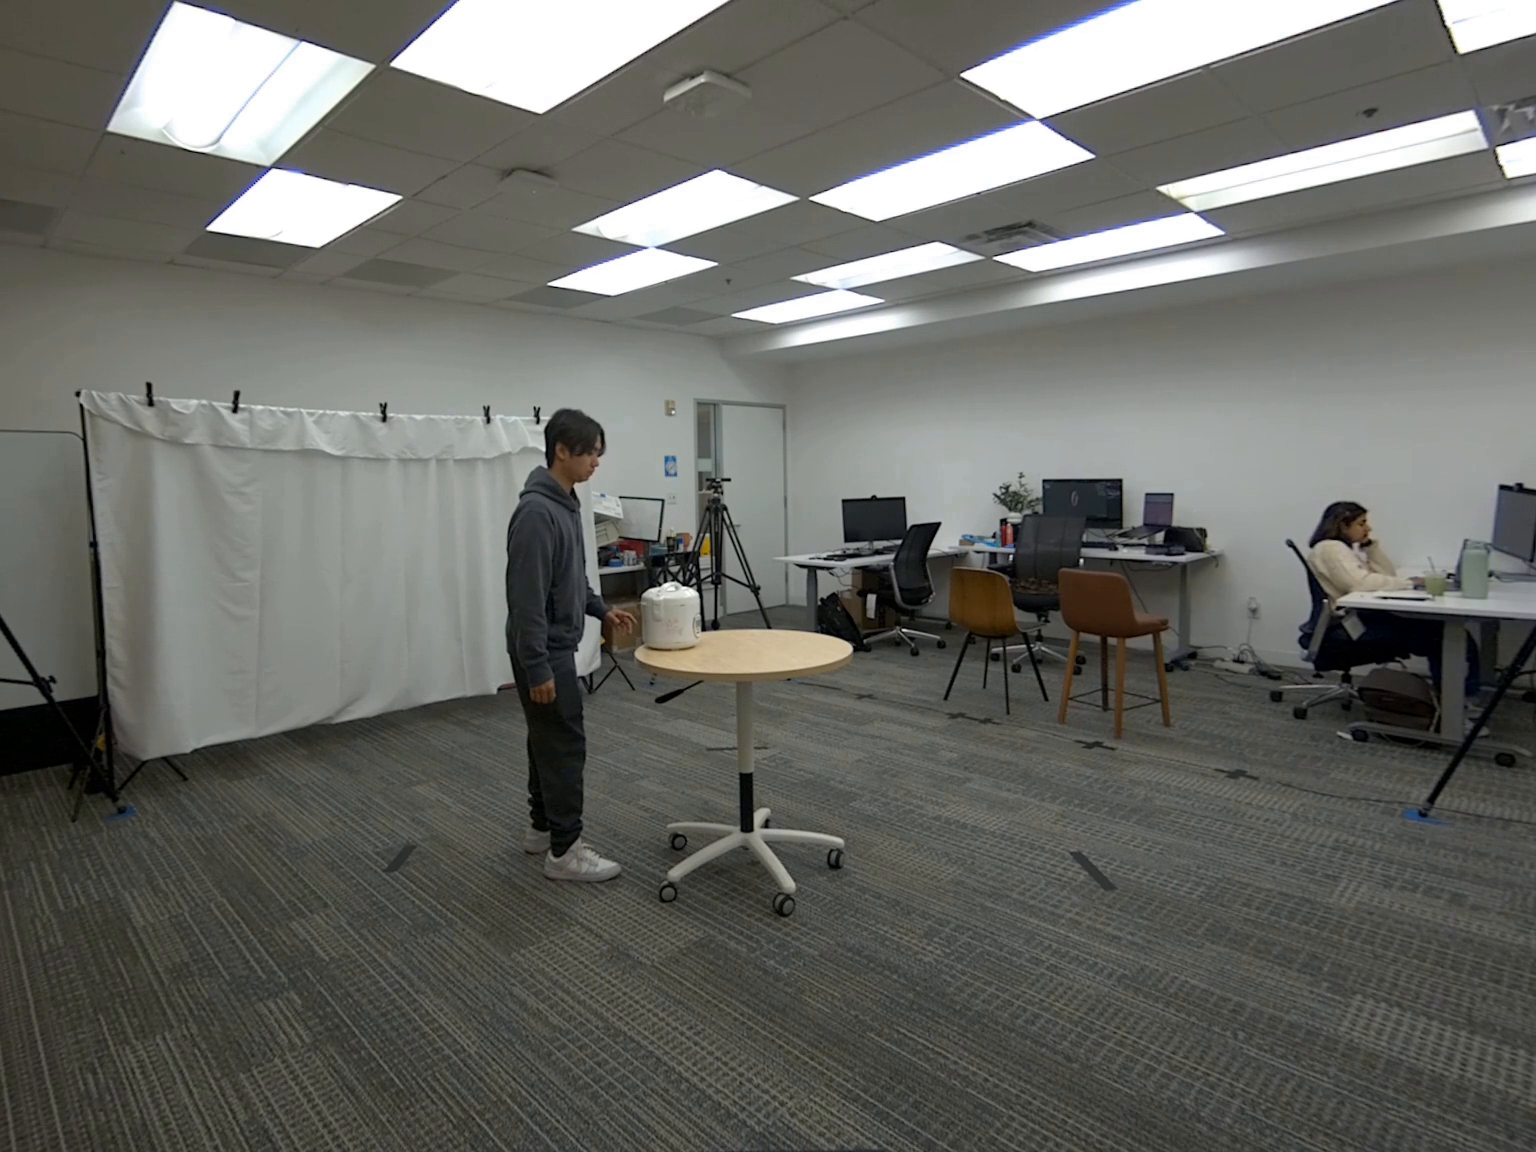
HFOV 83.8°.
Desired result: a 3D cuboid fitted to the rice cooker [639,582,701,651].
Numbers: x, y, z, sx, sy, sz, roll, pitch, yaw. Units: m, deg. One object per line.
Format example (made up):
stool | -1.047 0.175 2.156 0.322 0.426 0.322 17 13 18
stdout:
rice cooker | -0.350 0.137 3.087 0.222 0.232 0.217 -1 4 23
